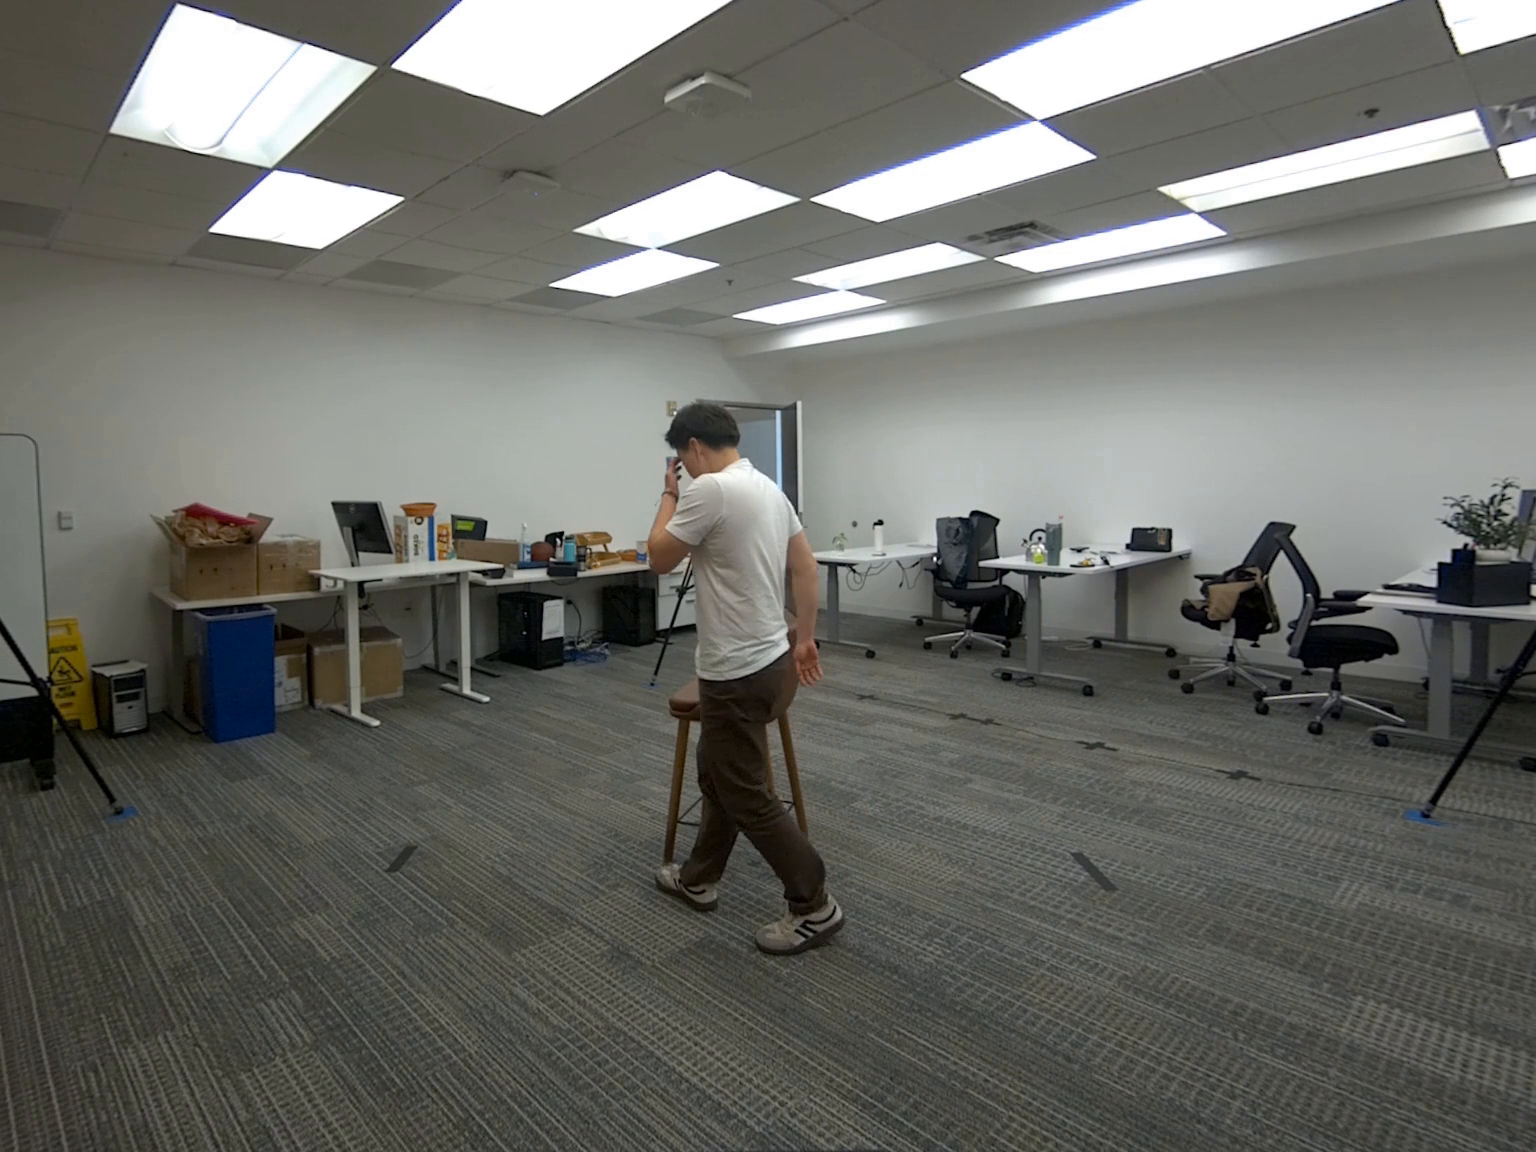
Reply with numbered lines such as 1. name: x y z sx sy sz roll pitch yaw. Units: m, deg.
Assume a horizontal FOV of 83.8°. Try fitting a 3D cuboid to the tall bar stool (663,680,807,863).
1. tall bar stool: -0.107 0.601 3.211 0.477 0.886 0.450 2 5 19
